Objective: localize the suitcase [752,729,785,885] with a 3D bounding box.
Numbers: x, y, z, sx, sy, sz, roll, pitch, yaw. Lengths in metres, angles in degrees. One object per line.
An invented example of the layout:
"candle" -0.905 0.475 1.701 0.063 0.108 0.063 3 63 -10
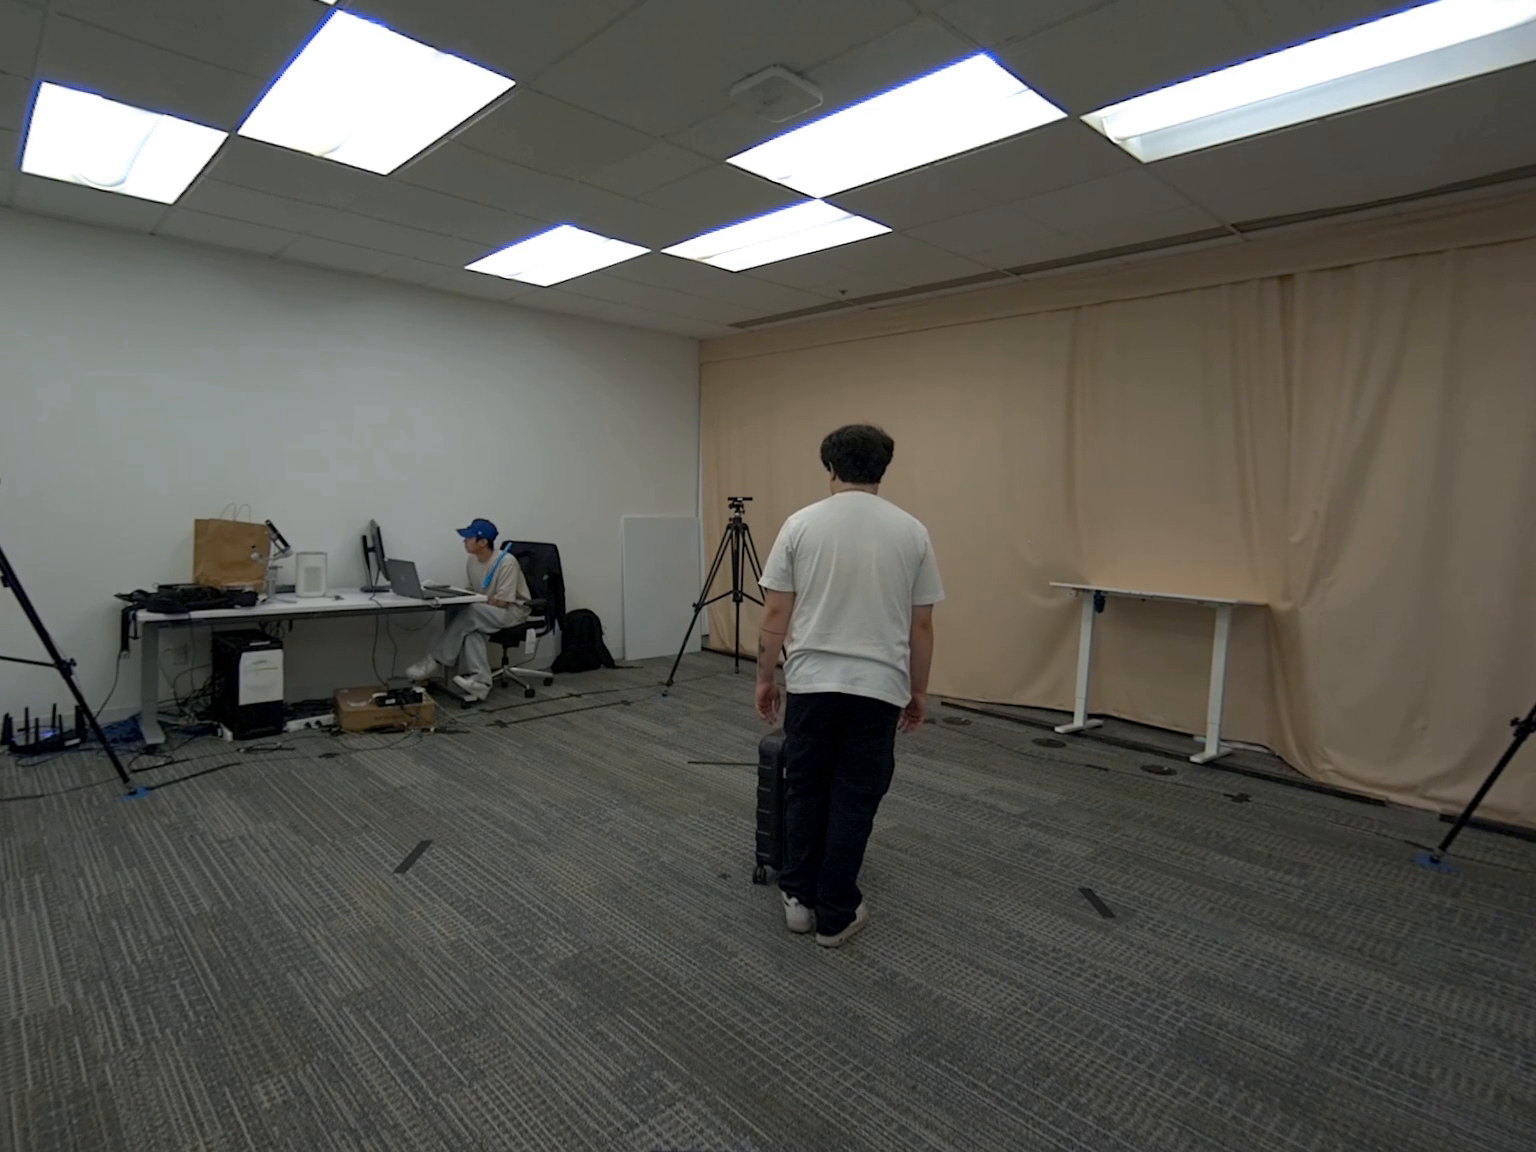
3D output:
"suitcase" 0.122 0.638 3.143 0.262 0.978 0.377 0 1 27
